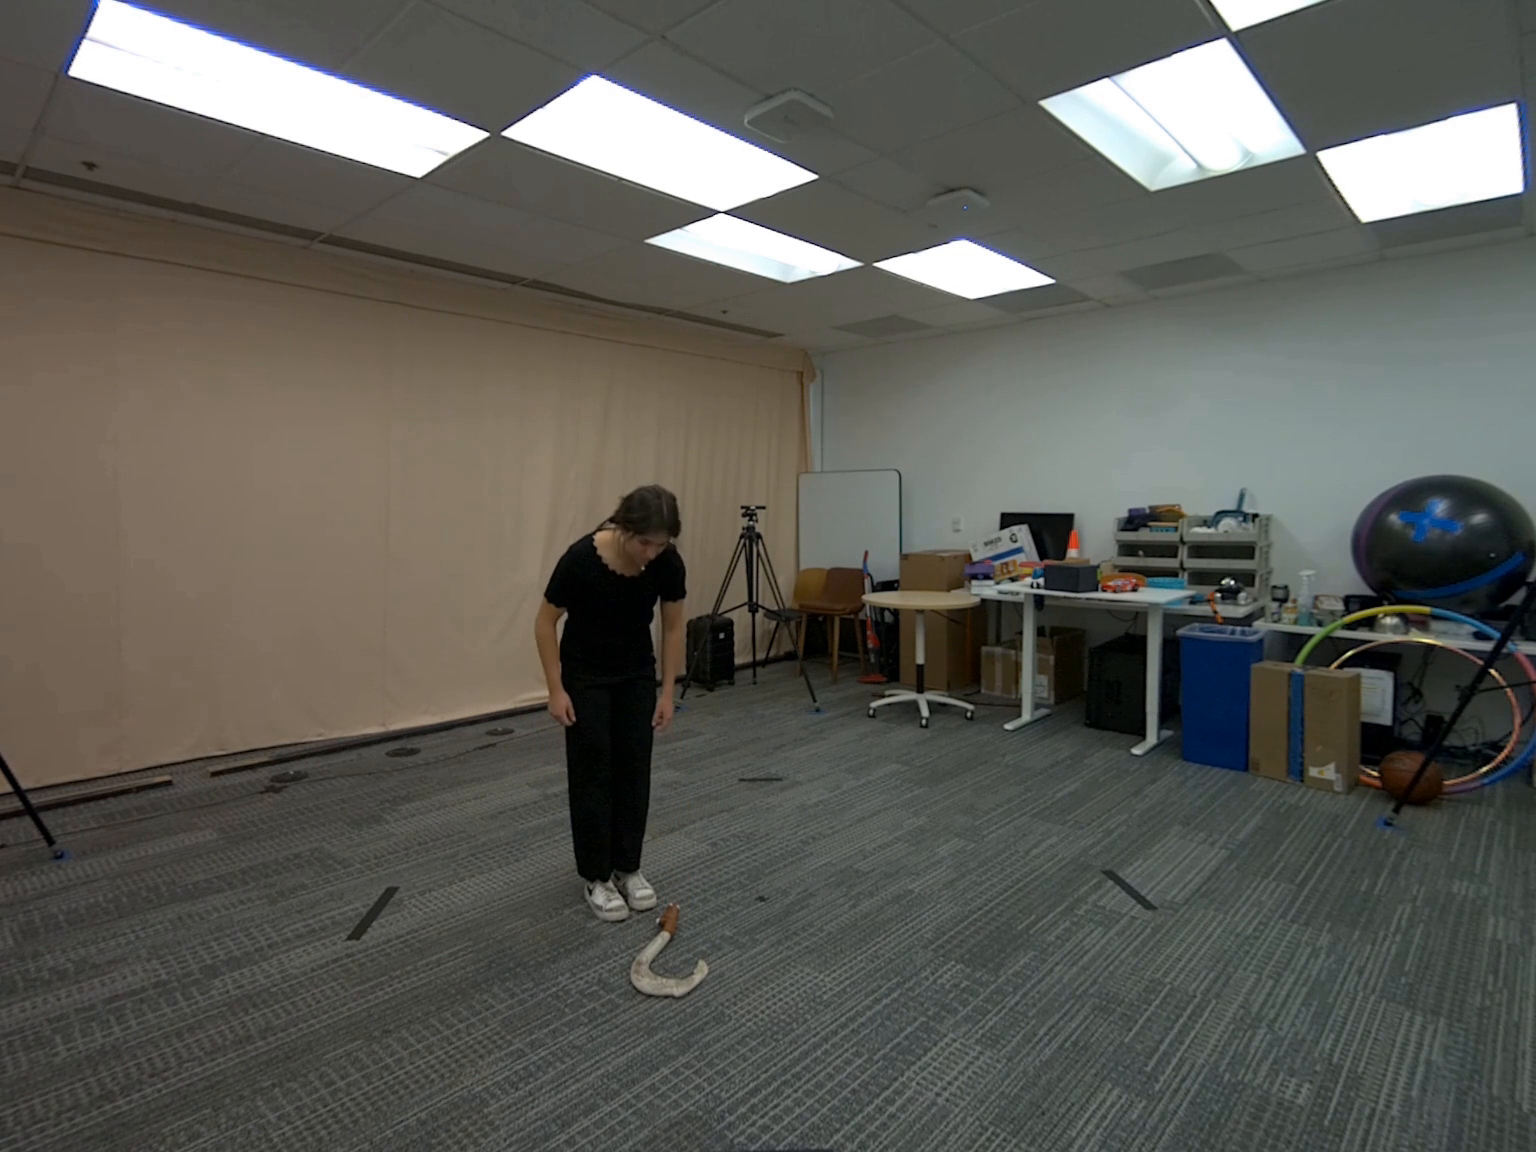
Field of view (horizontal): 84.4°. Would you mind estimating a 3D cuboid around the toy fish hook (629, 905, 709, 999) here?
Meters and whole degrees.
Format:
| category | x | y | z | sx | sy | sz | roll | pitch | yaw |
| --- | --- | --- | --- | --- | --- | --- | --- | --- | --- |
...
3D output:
| category | x | y | z | sx | sy | sz | roll | pitch | yaw |
| --- | --- | --- | --- | --- | --- | --- | --- | --- | --- |
| toy fish hook | -0.283 | 1.158 | 2.626 | 0.226 | 0.048 | 0.505 | 7 | 6 | 3 |
